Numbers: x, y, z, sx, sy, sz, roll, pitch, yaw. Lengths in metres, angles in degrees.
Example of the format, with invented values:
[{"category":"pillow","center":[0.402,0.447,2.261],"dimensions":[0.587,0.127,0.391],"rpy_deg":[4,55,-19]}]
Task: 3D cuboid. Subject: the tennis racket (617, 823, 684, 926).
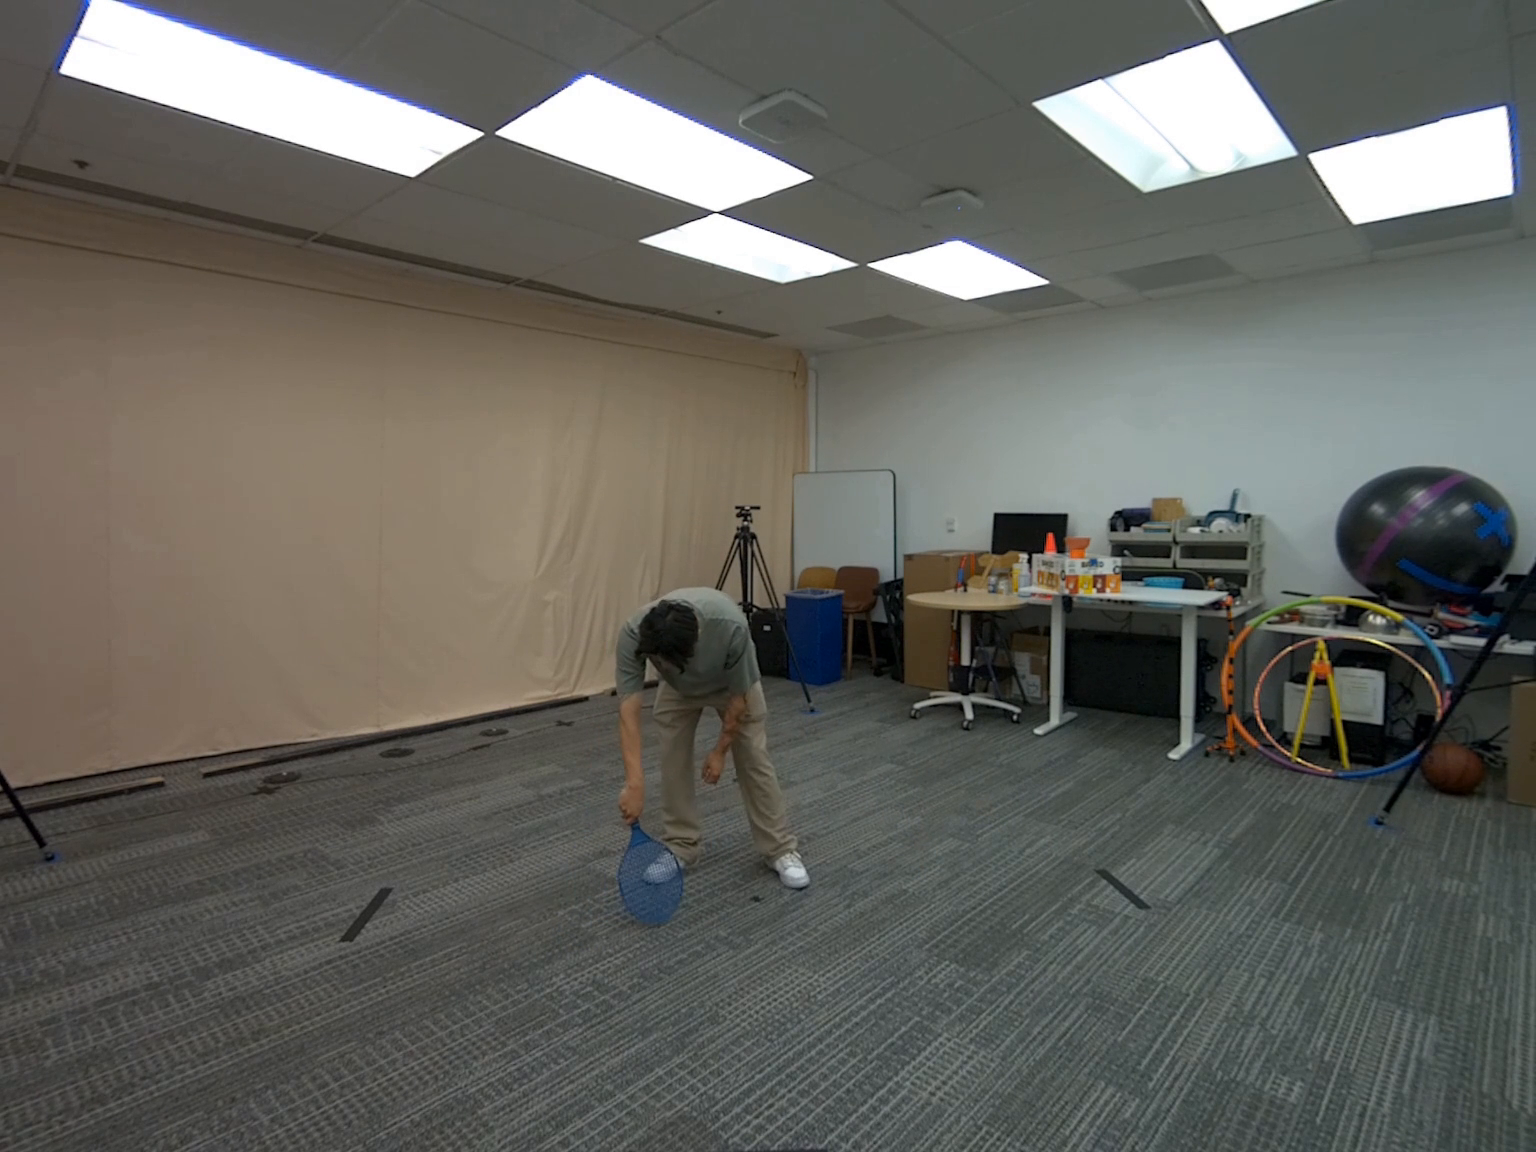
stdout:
[{"category":"tennis racket","center":[-0.420,0.925,2.808],"dimensions":[0.210,0.435,0.032],"rpy_deg":[-13,-5,-18]}]
